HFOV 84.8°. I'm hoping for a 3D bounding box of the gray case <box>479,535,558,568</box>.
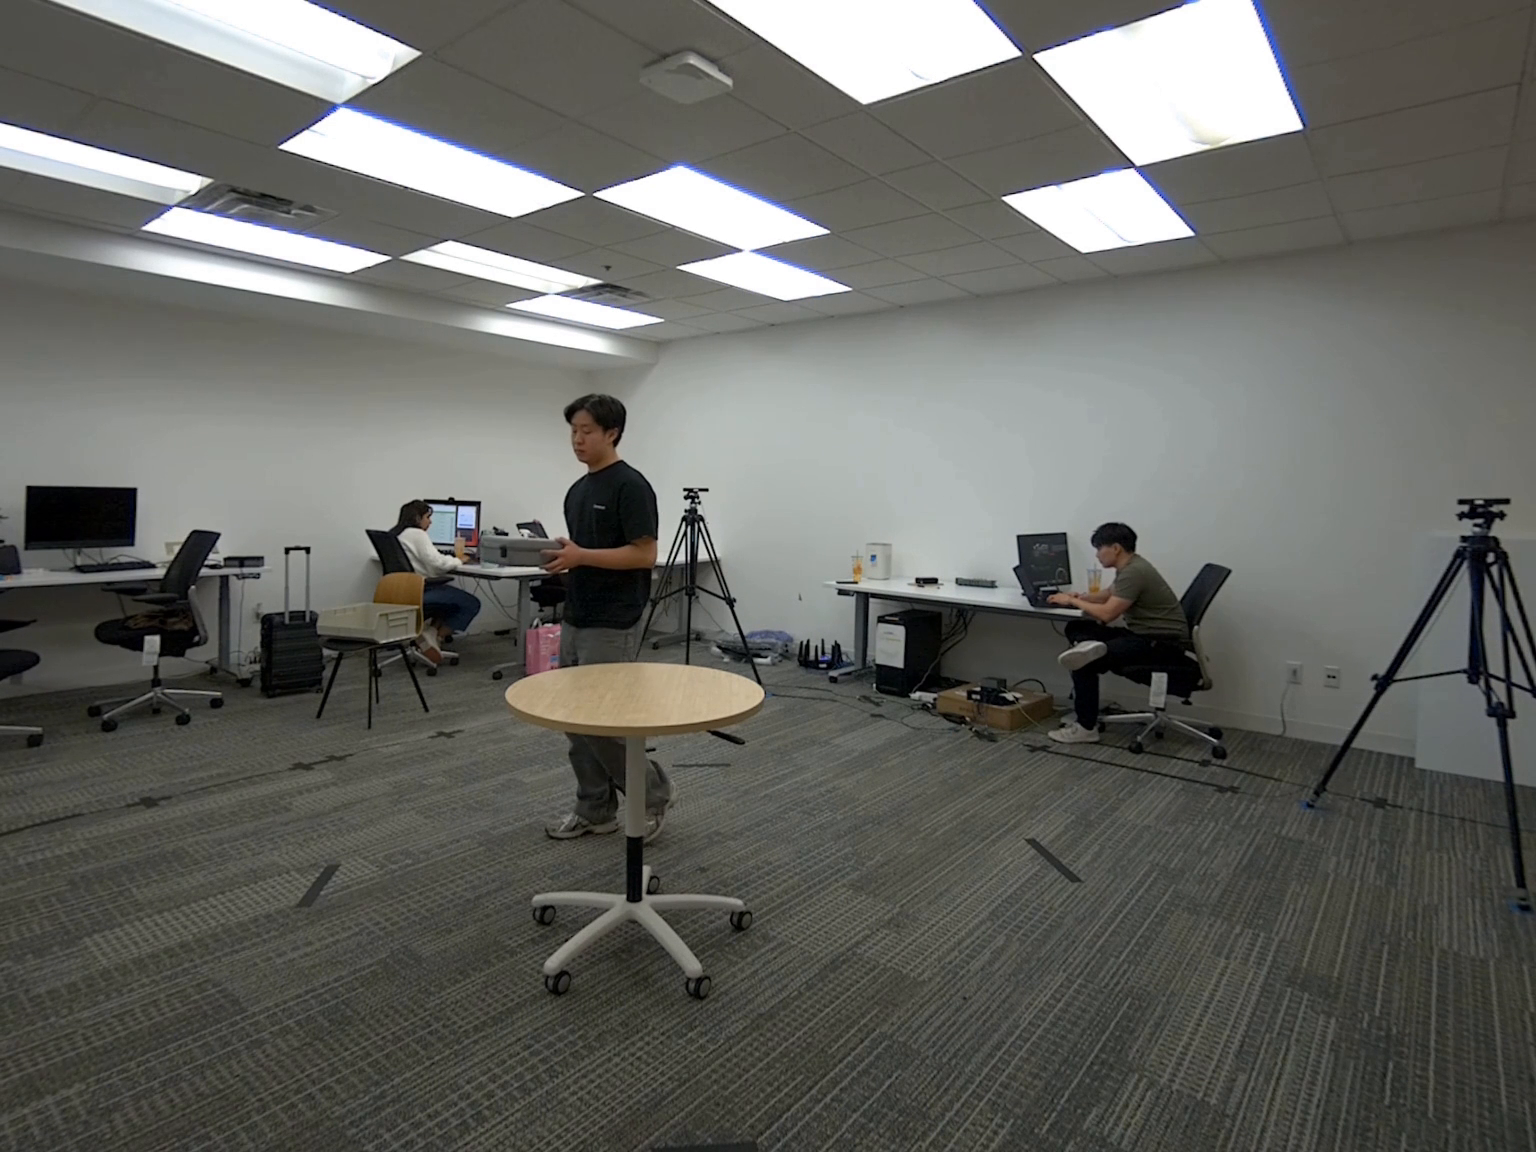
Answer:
[{"bbox_3d":[-0.919,-0.095,3.171,0.279,0.103,0.271,2,3,-31],"label":"gray case"}]
